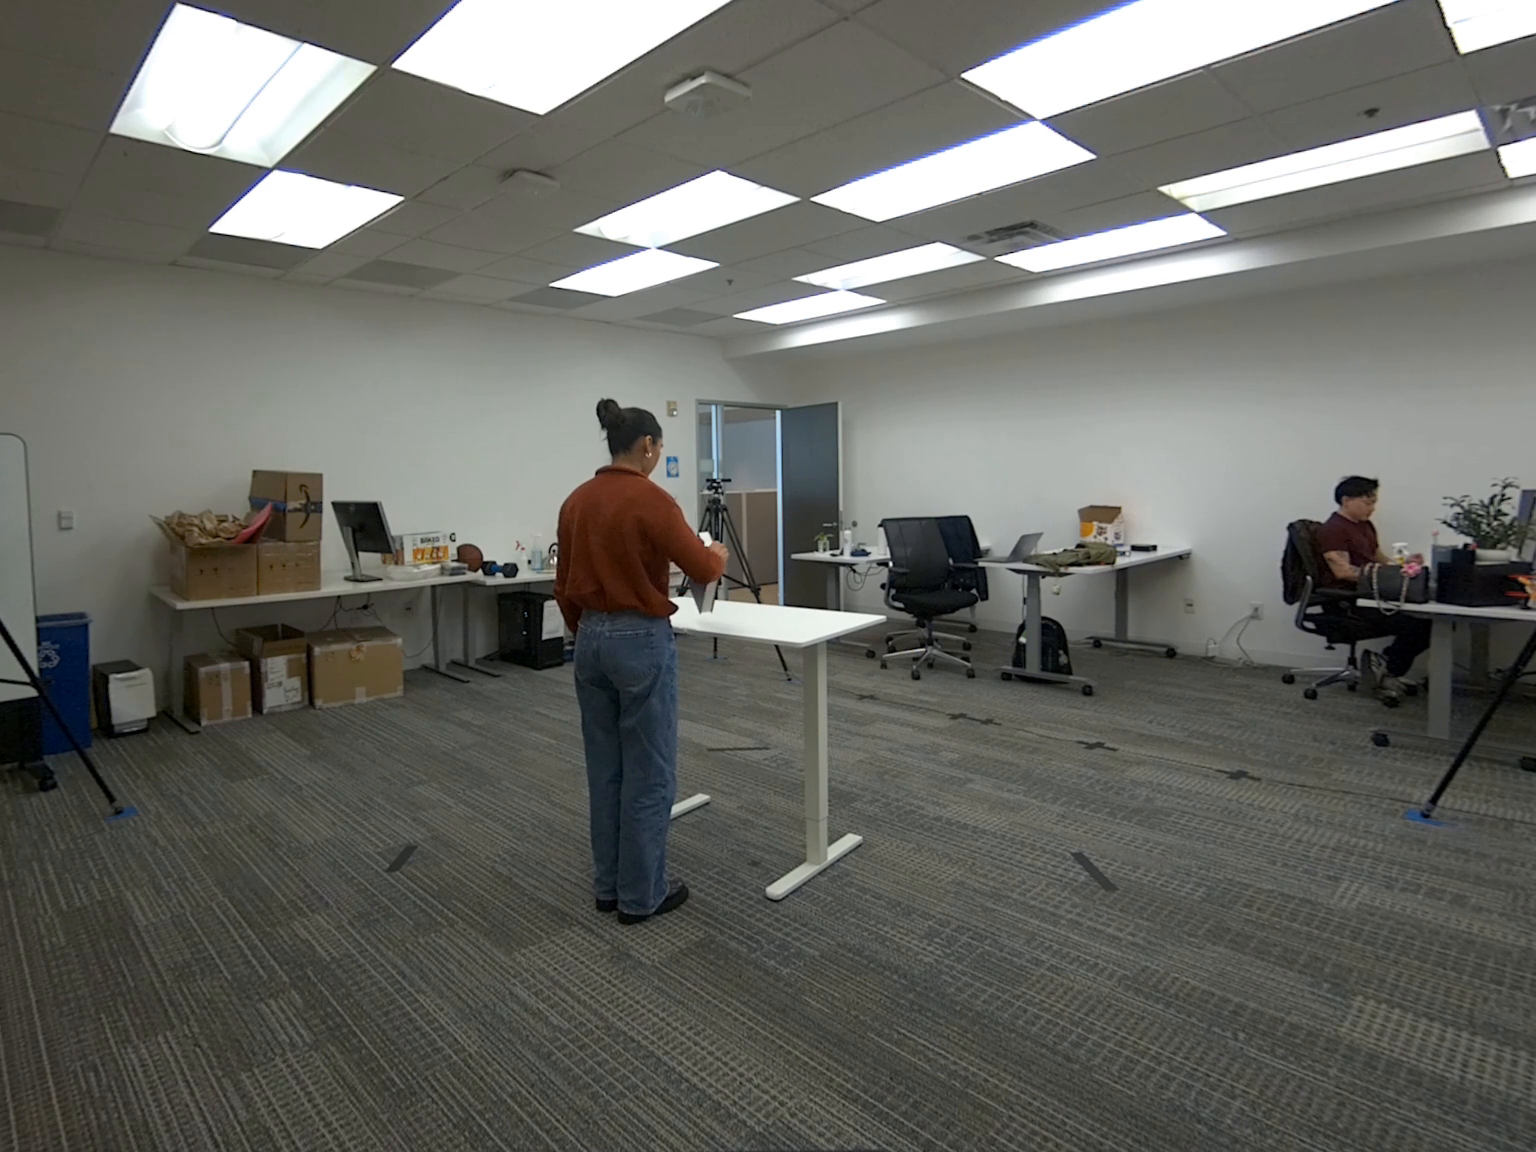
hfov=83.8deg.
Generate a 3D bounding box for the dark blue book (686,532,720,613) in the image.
[{"bbox_3d":[-0.221,-0.010,2.941,0.044,0.240,0.169,-5,45,-18],"label":"dark blue book"}]
